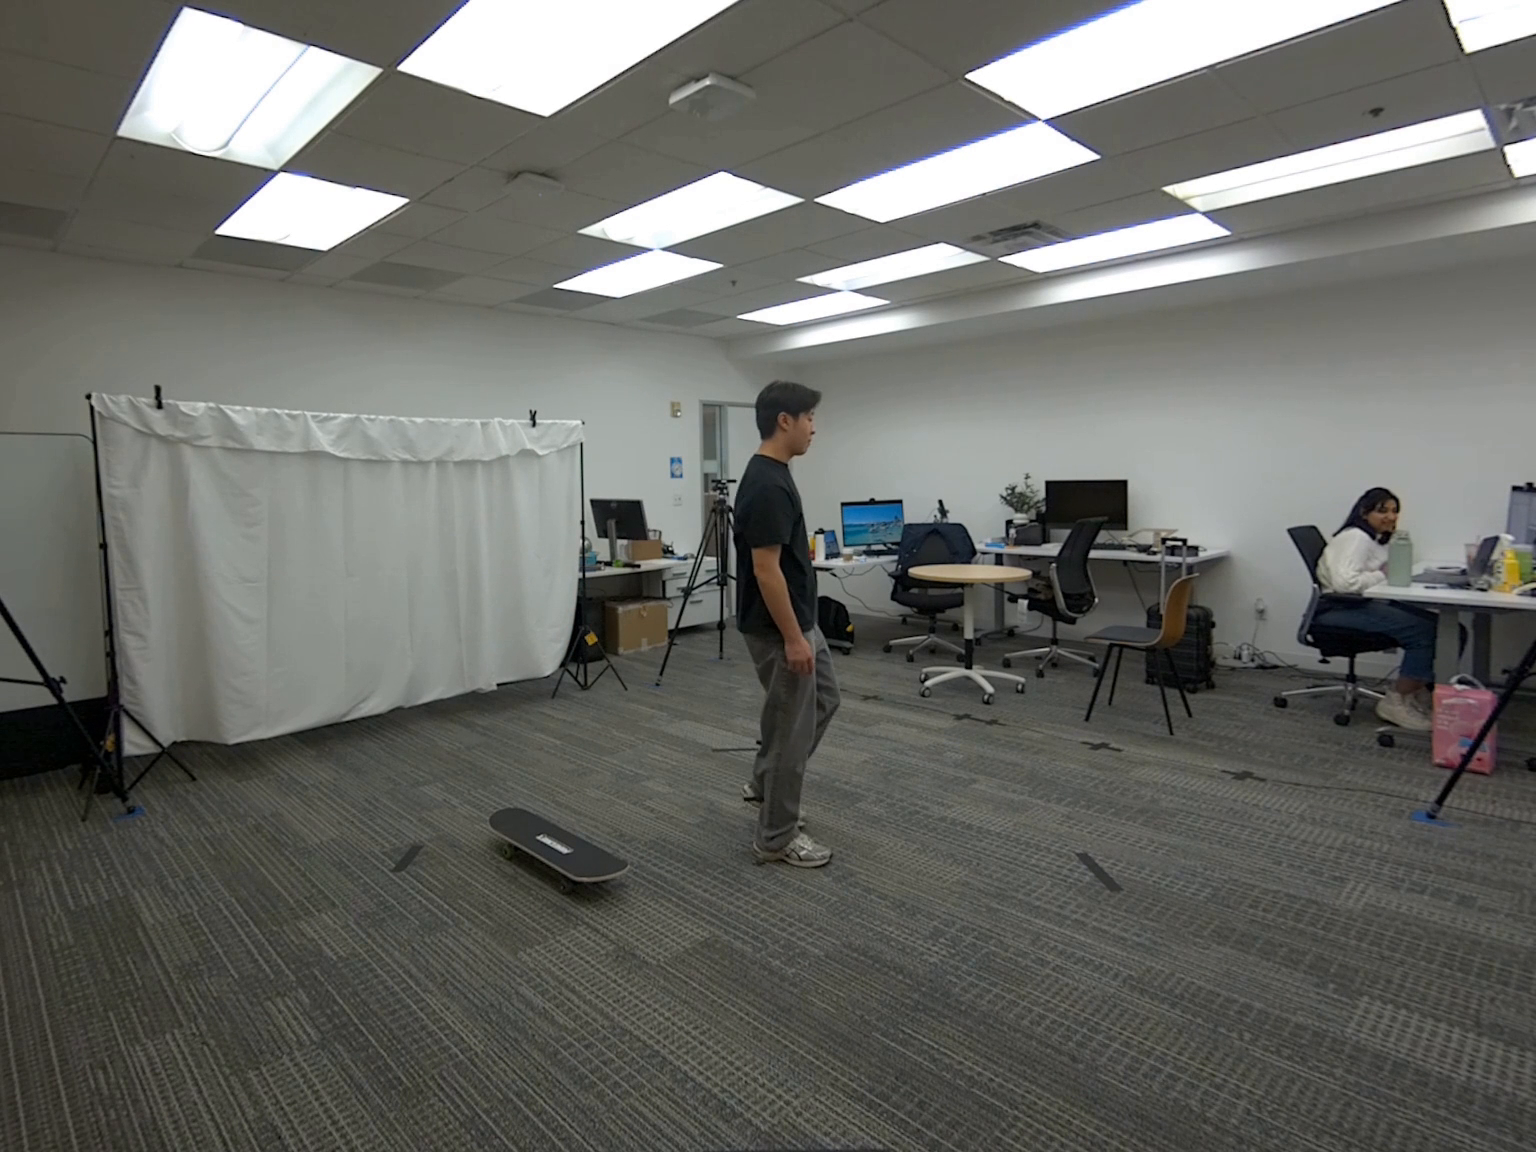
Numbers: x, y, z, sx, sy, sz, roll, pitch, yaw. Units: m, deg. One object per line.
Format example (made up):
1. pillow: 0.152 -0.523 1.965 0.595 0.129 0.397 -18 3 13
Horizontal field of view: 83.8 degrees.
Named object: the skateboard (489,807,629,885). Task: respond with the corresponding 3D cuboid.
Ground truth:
1. skateboard: -0.777 1.010 3.108 0.188 0.110 0.810 -7 8 -44
